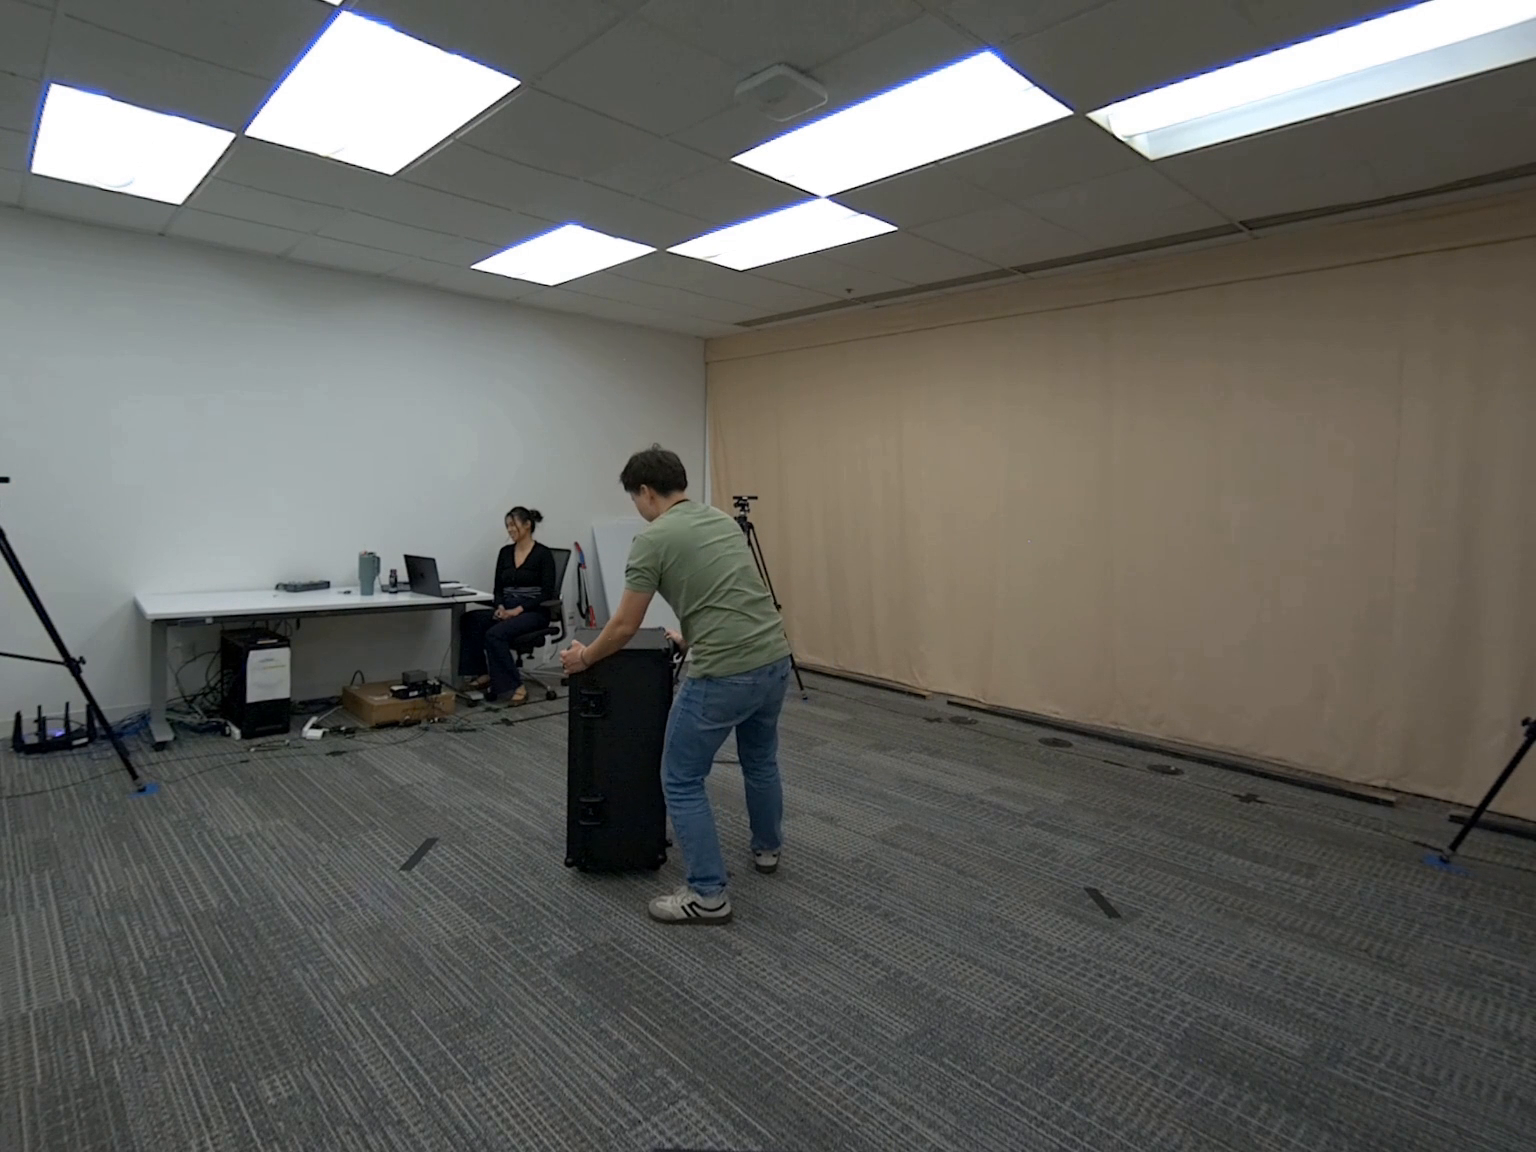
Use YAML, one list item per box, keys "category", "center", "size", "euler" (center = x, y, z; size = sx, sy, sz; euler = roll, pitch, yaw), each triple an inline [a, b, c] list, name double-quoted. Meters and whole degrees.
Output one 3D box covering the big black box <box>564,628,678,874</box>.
- category: "big black box"
  center: [-0.566, 0.603, 3.216]
  size: [0.393, 0.859, 0.526]
  euler: [1, 3, -9]
